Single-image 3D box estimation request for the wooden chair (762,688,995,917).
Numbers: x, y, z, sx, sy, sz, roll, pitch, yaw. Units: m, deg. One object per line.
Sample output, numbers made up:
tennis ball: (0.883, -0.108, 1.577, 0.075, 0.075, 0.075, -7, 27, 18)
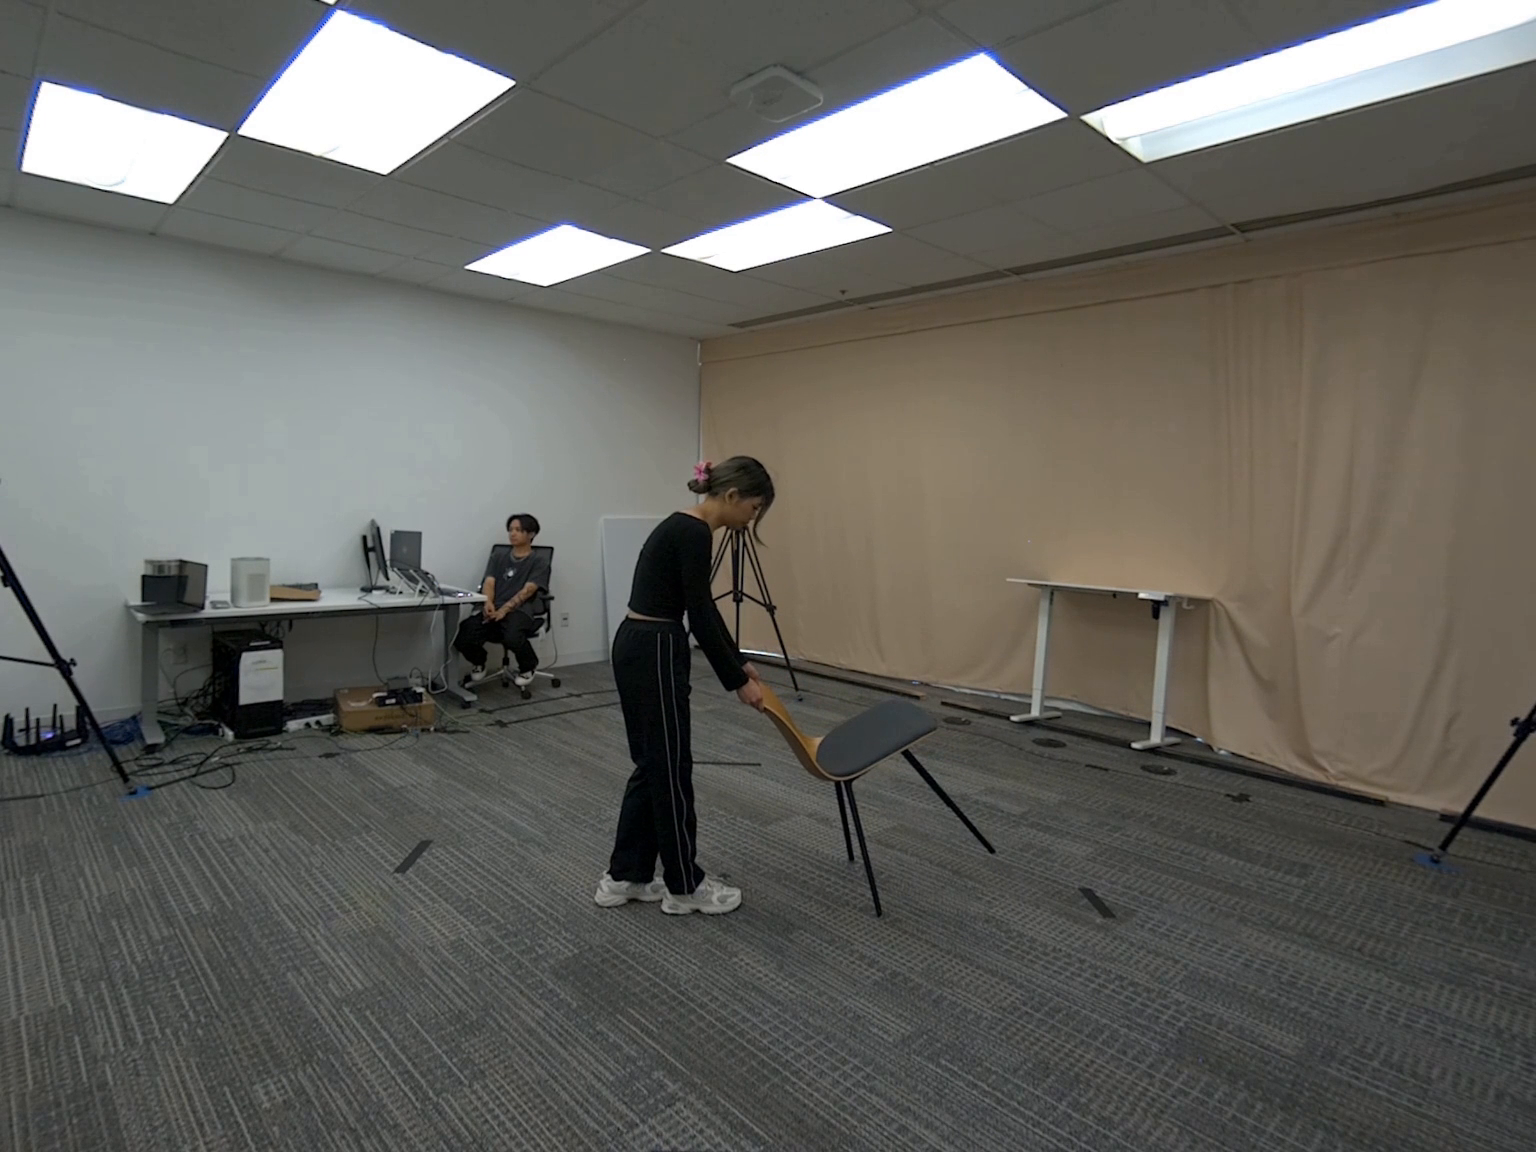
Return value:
wooden chair: (0.342, 0.636, 3.014, 0.522, 0.873, 0.481, -32, 5, -3)
